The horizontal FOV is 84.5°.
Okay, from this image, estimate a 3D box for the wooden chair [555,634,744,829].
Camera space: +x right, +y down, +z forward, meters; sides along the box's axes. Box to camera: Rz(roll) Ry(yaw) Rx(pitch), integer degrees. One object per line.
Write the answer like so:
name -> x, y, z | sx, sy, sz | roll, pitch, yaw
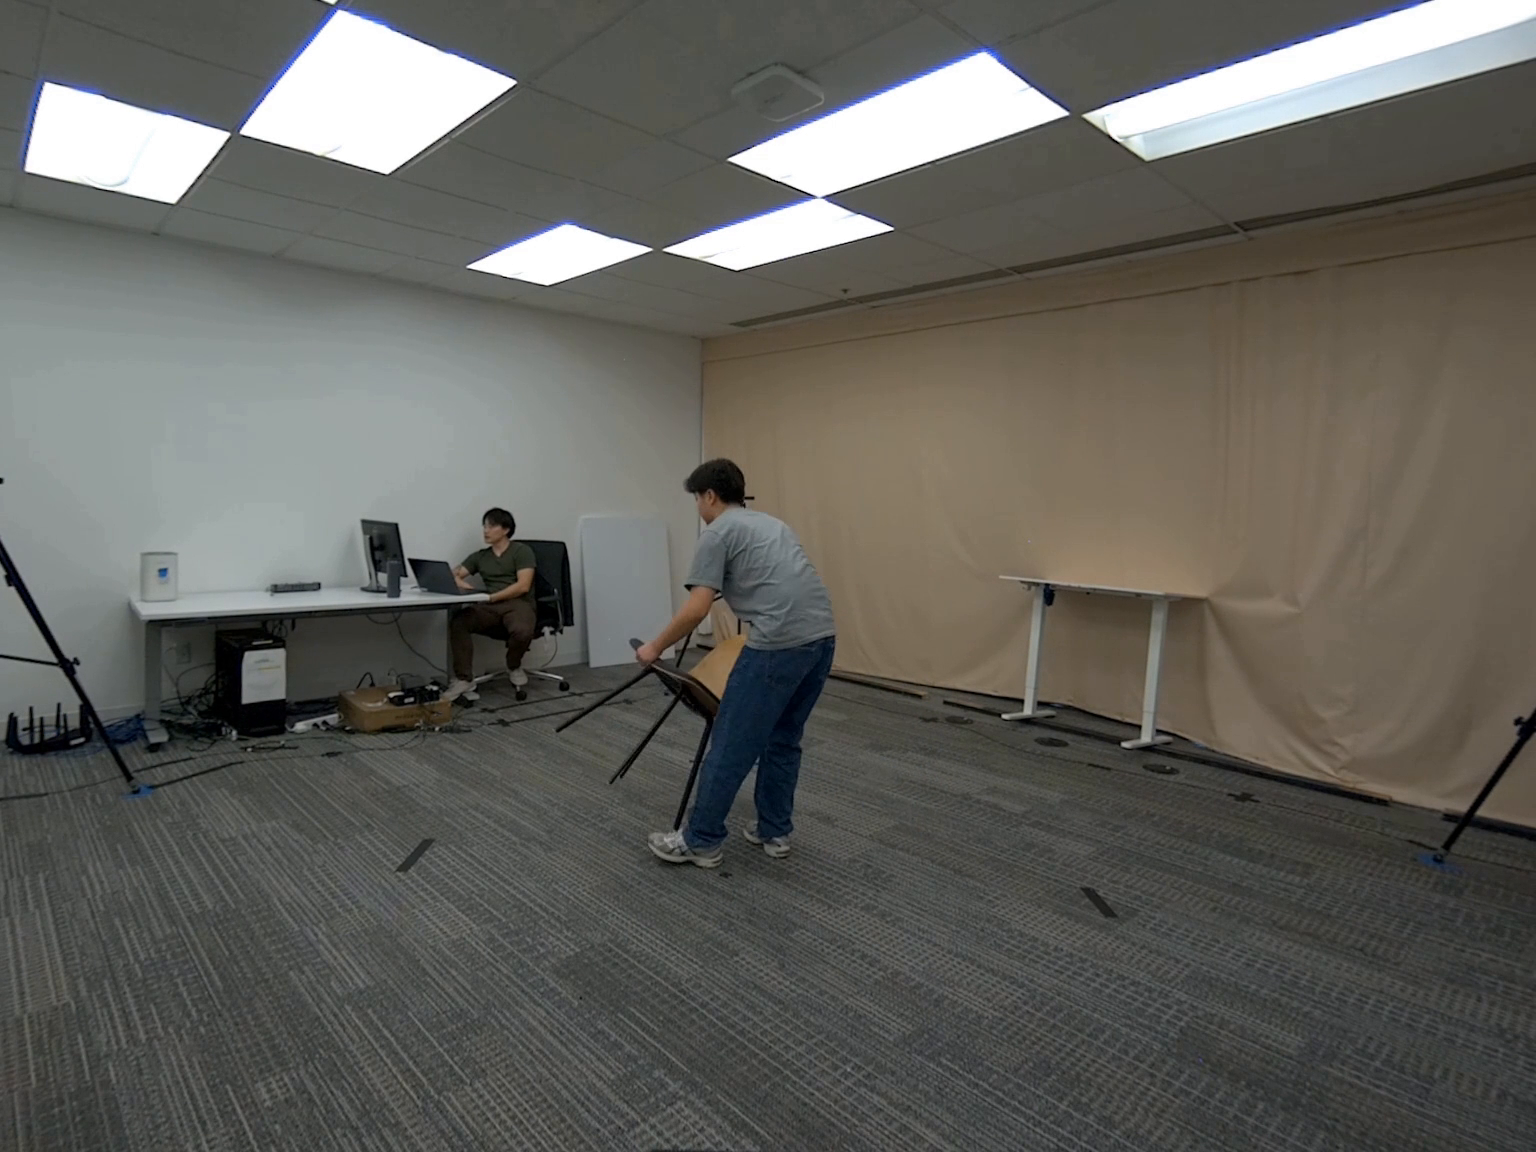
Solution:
wooden chair -> -0.361, 0.489, 3.408 | 0.493, 0.877, 0.507 | 24, -23, 47
